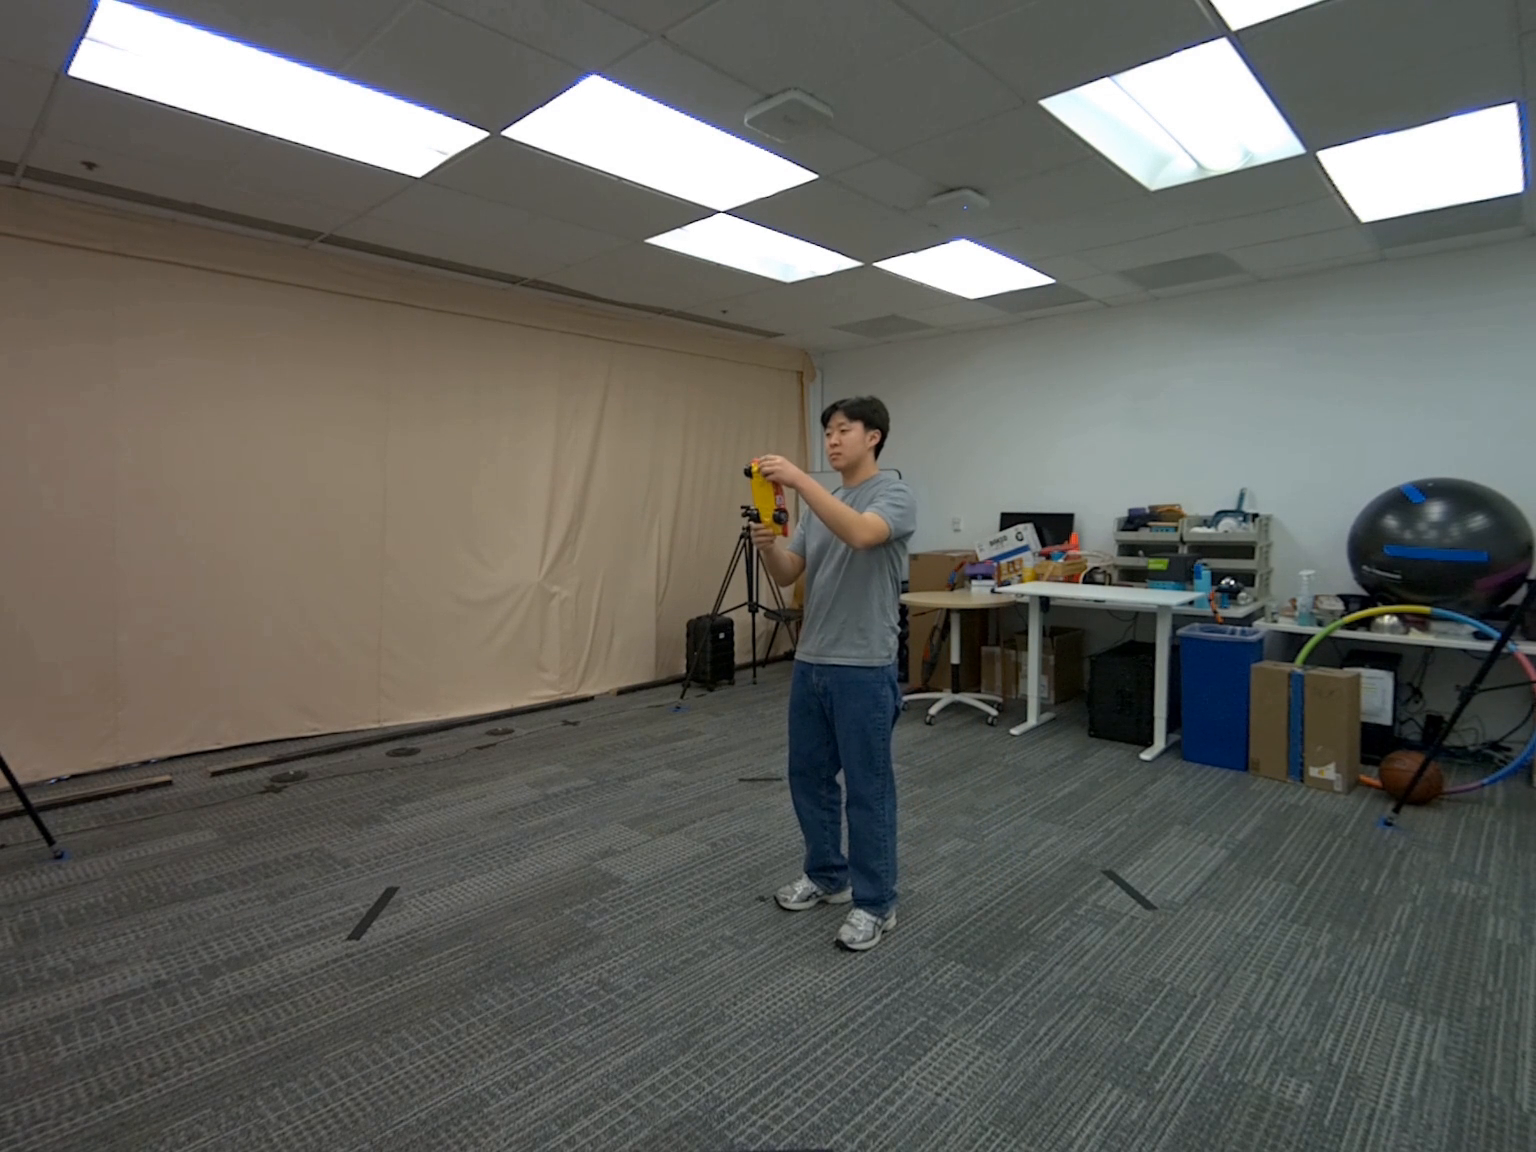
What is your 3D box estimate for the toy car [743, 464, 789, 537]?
[{"bbox_3d":[0.007,-0.238,2.595,0.134,0.250,0.082,3,29,43],"label":"toy car"}]
